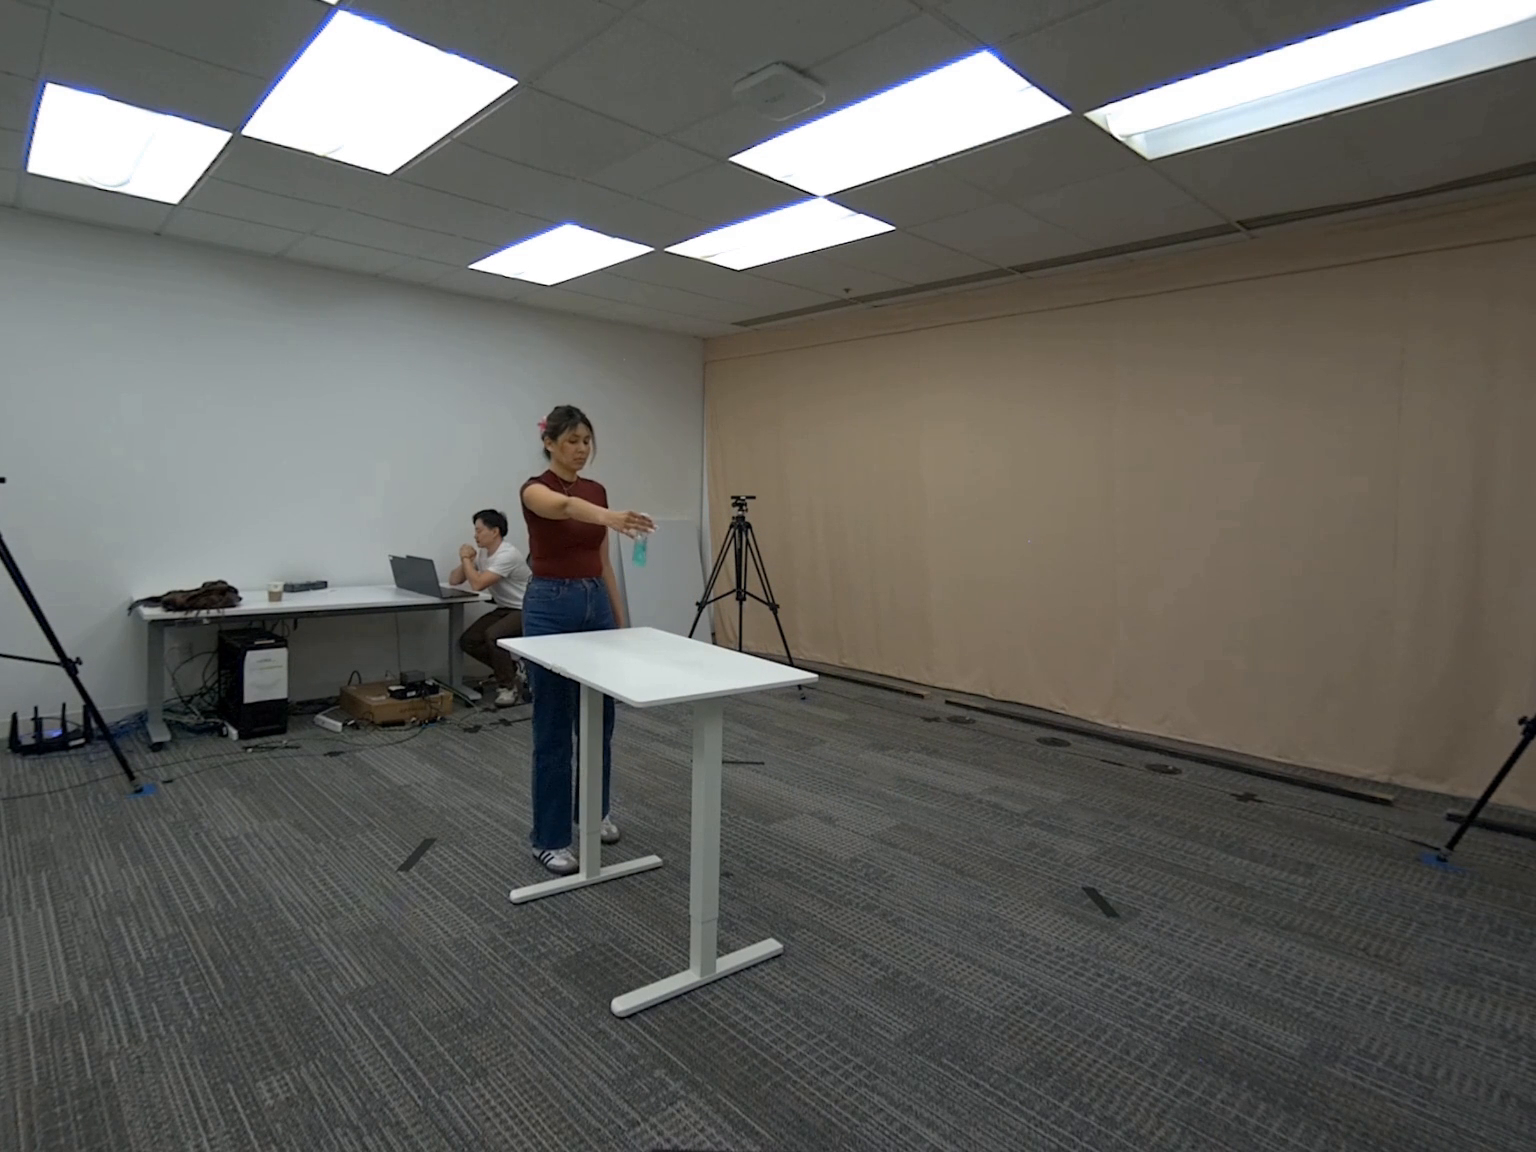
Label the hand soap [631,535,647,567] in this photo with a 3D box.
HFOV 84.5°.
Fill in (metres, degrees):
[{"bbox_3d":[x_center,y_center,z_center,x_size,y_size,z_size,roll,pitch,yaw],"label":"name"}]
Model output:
[{"bbox_3d":[-0.412,-0.114,2.652,0.043,0.168,0.084,5,-4,5],"label":"hand soap"}]
